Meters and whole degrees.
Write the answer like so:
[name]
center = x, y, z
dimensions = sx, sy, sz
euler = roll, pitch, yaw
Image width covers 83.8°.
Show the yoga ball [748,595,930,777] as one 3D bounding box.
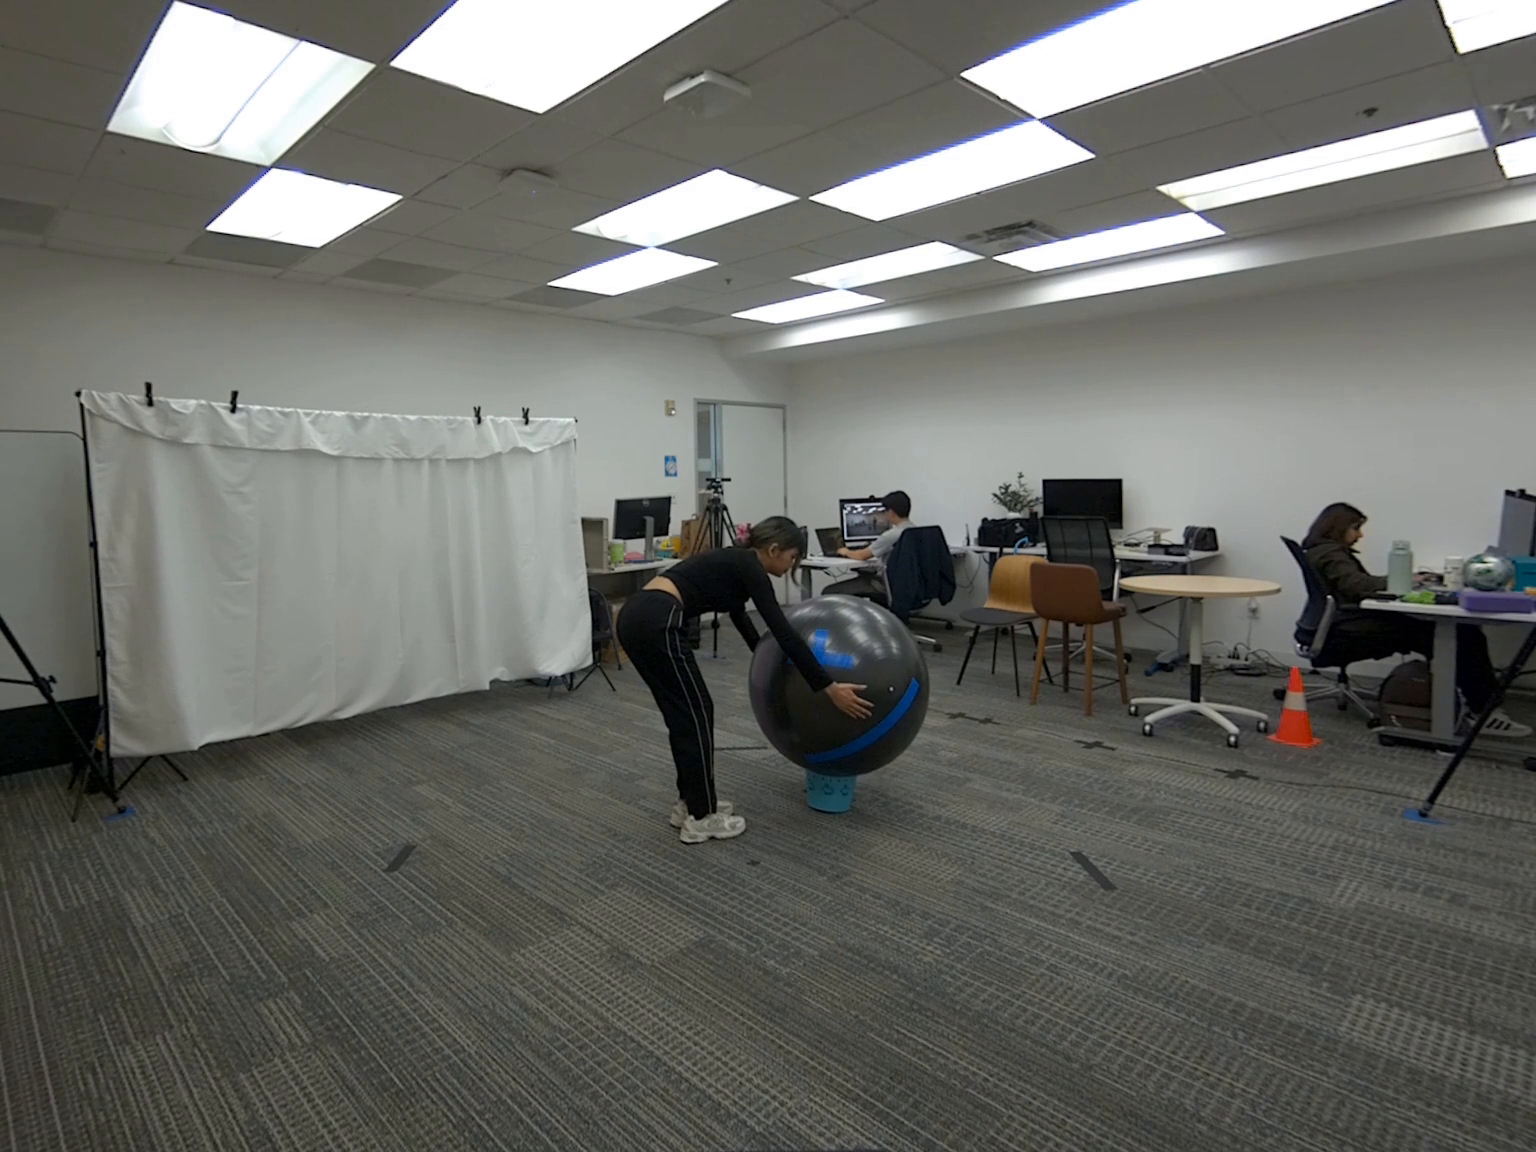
[yoga ball]
center = 0.297, 0.460, 3.629
dimensions = 0.757, 0.755, 0.762
euler = -1, 5, -2
